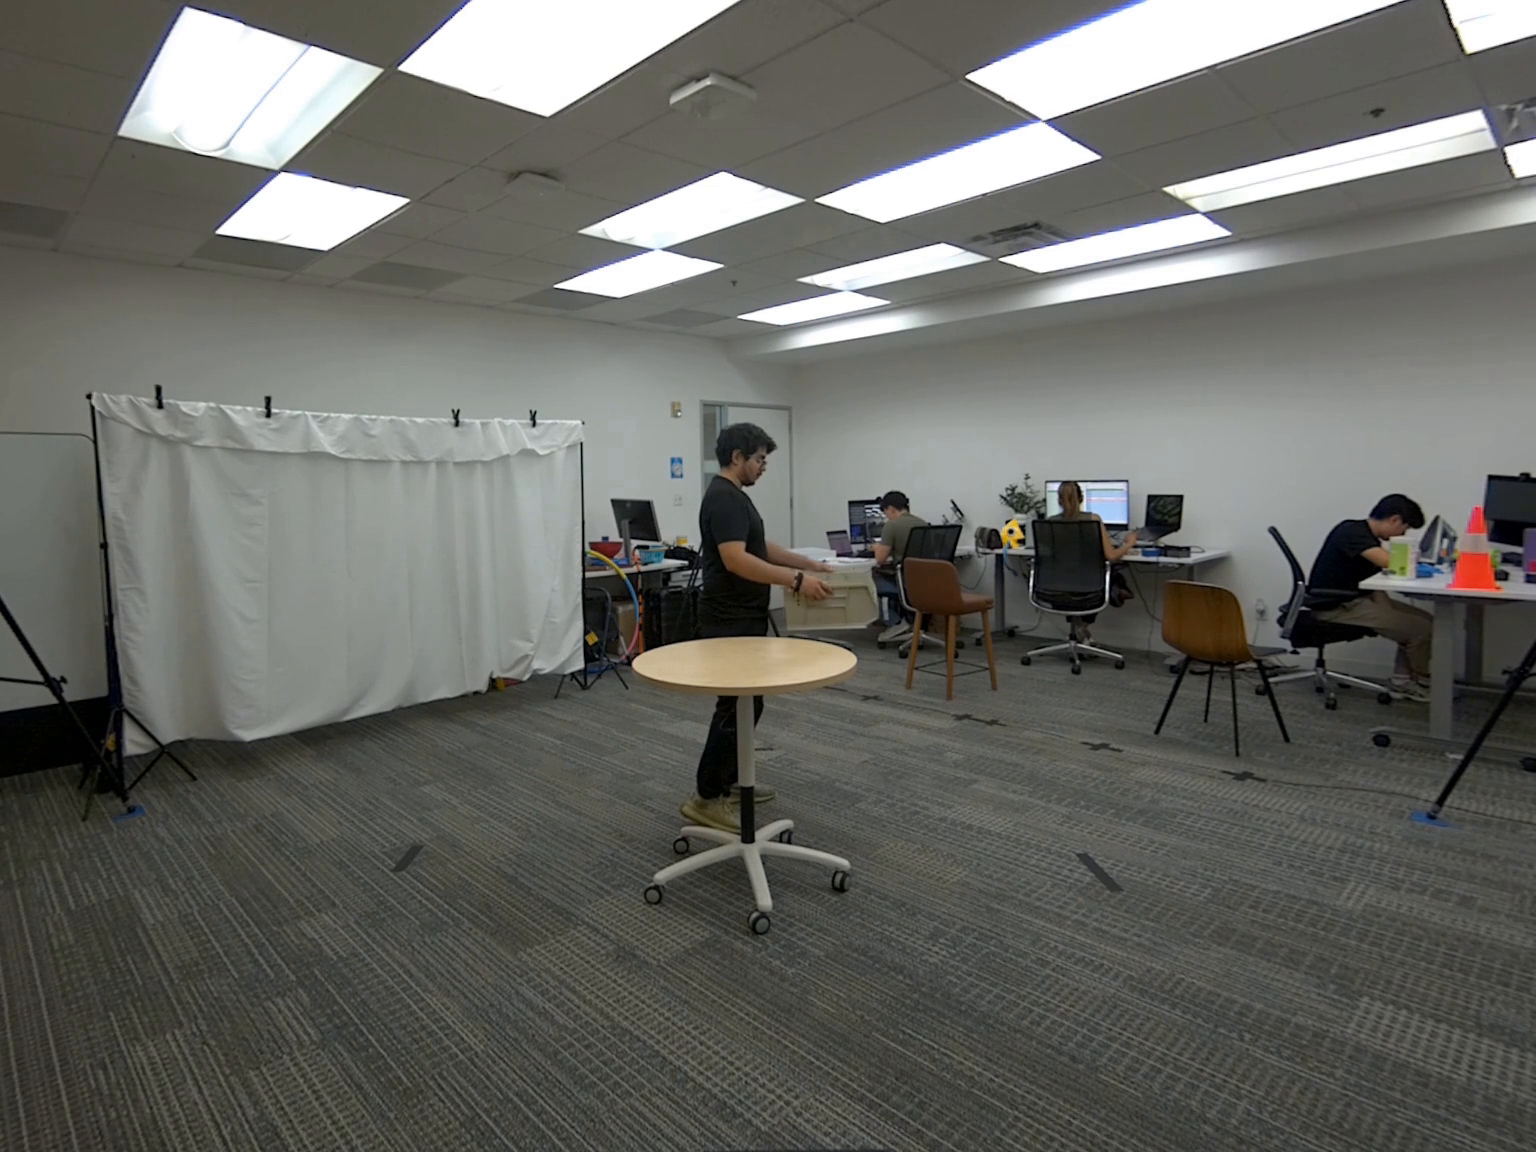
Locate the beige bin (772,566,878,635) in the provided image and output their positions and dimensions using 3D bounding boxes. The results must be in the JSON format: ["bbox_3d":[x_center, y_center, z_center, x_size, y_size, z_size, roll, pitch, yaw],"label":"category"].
[{"bbox_3d":[0.265,0.098,3.557,0.380,0.188,0.421,-3,6,8],"label":"beige bin"}]
